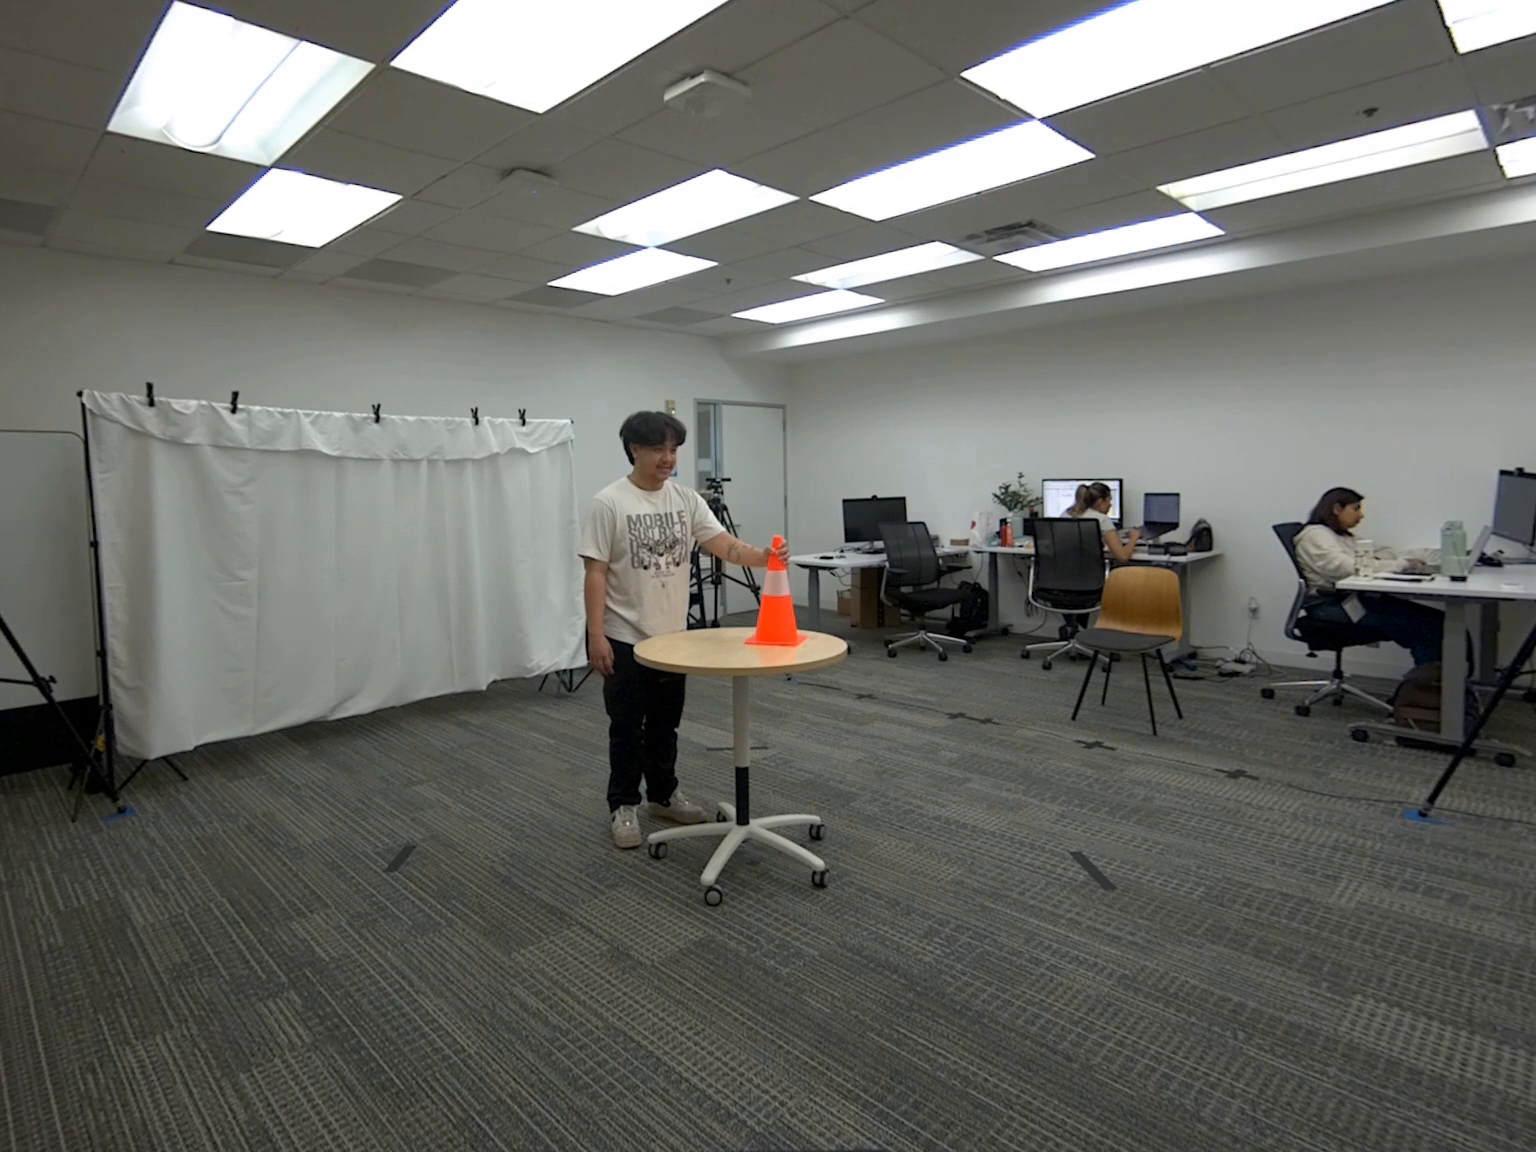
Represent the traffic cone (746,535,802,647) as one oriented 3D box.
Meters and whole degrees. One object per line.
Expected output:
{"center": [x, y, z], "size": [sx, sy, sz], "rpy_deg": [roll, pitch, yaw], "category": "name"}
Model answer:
{"center": [0.032, 0.043, 3.134], "size": [0.207, 0.382, 0.202], "rpy_deg": [1, 5, 18], "category": "traffic cone"}
